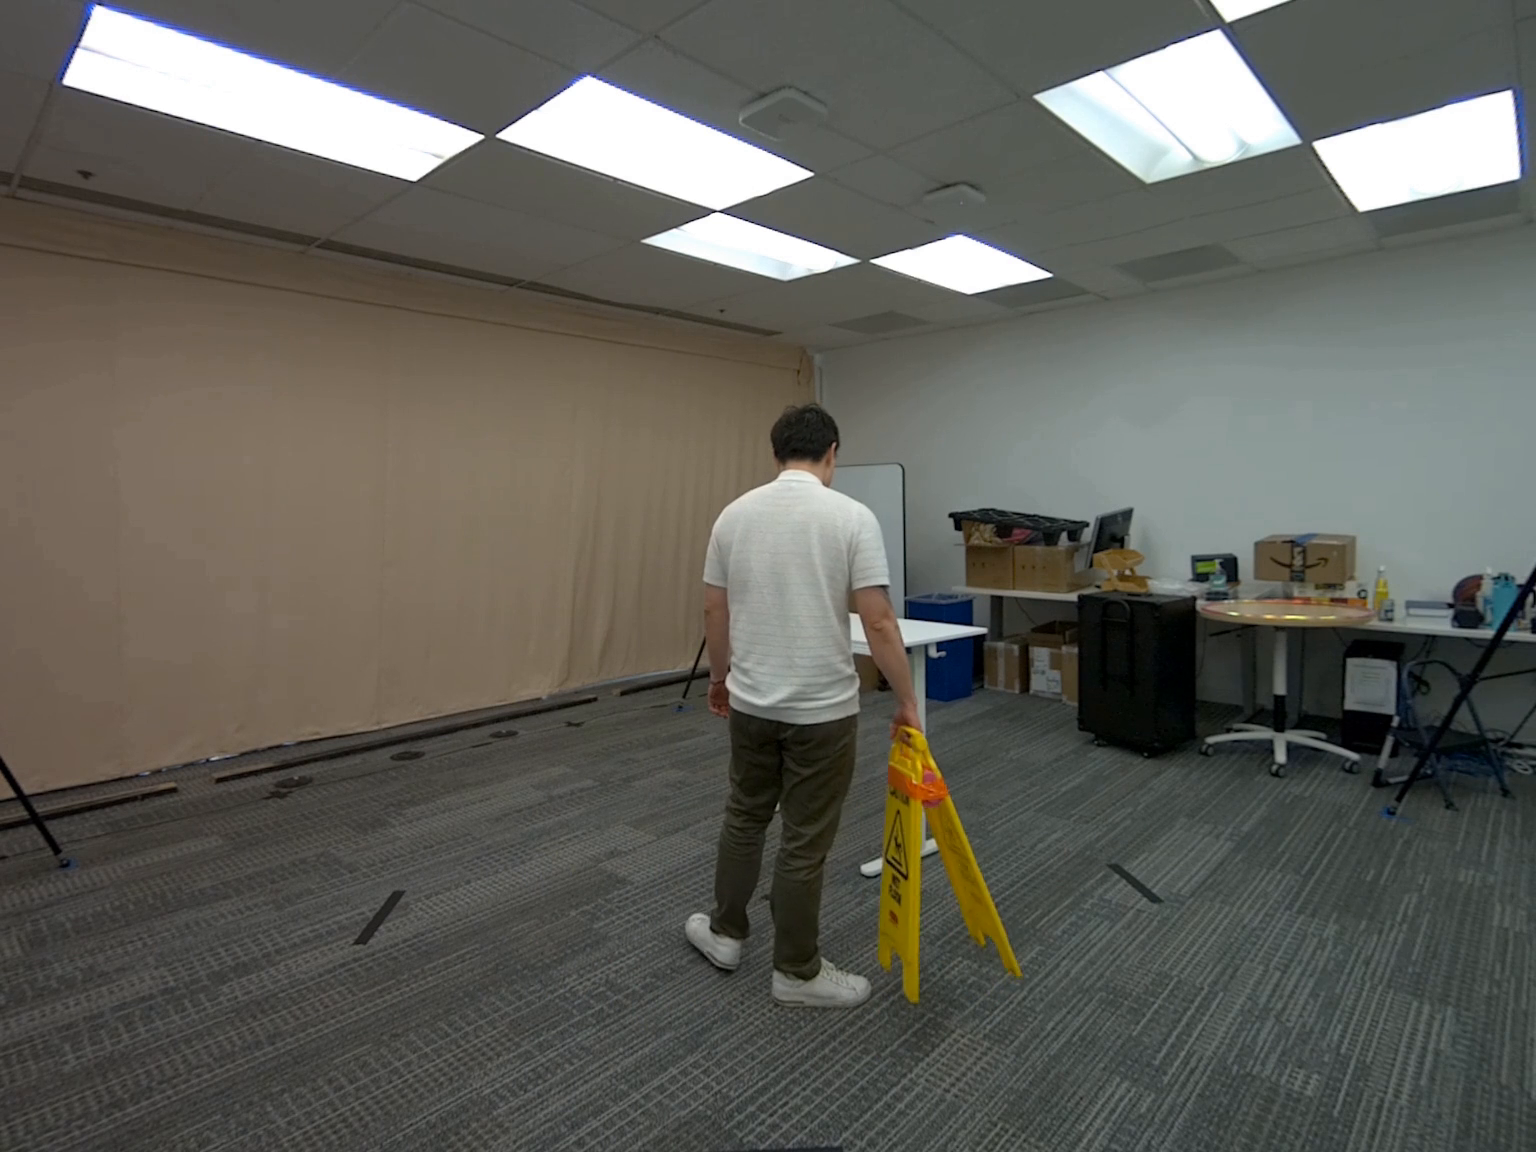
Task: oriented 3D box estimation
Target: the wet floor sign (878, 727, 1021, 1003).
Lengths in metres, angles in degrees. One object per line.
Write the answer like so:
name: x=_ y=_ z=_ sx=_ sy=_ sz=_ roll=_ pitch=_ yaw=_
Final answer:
wet floor sign: x=0.426 y=0.726 z=2.243 sx=0.287 sy=0.648 sz=0.284 roll=-8 pitch=-3 yaw=-9
